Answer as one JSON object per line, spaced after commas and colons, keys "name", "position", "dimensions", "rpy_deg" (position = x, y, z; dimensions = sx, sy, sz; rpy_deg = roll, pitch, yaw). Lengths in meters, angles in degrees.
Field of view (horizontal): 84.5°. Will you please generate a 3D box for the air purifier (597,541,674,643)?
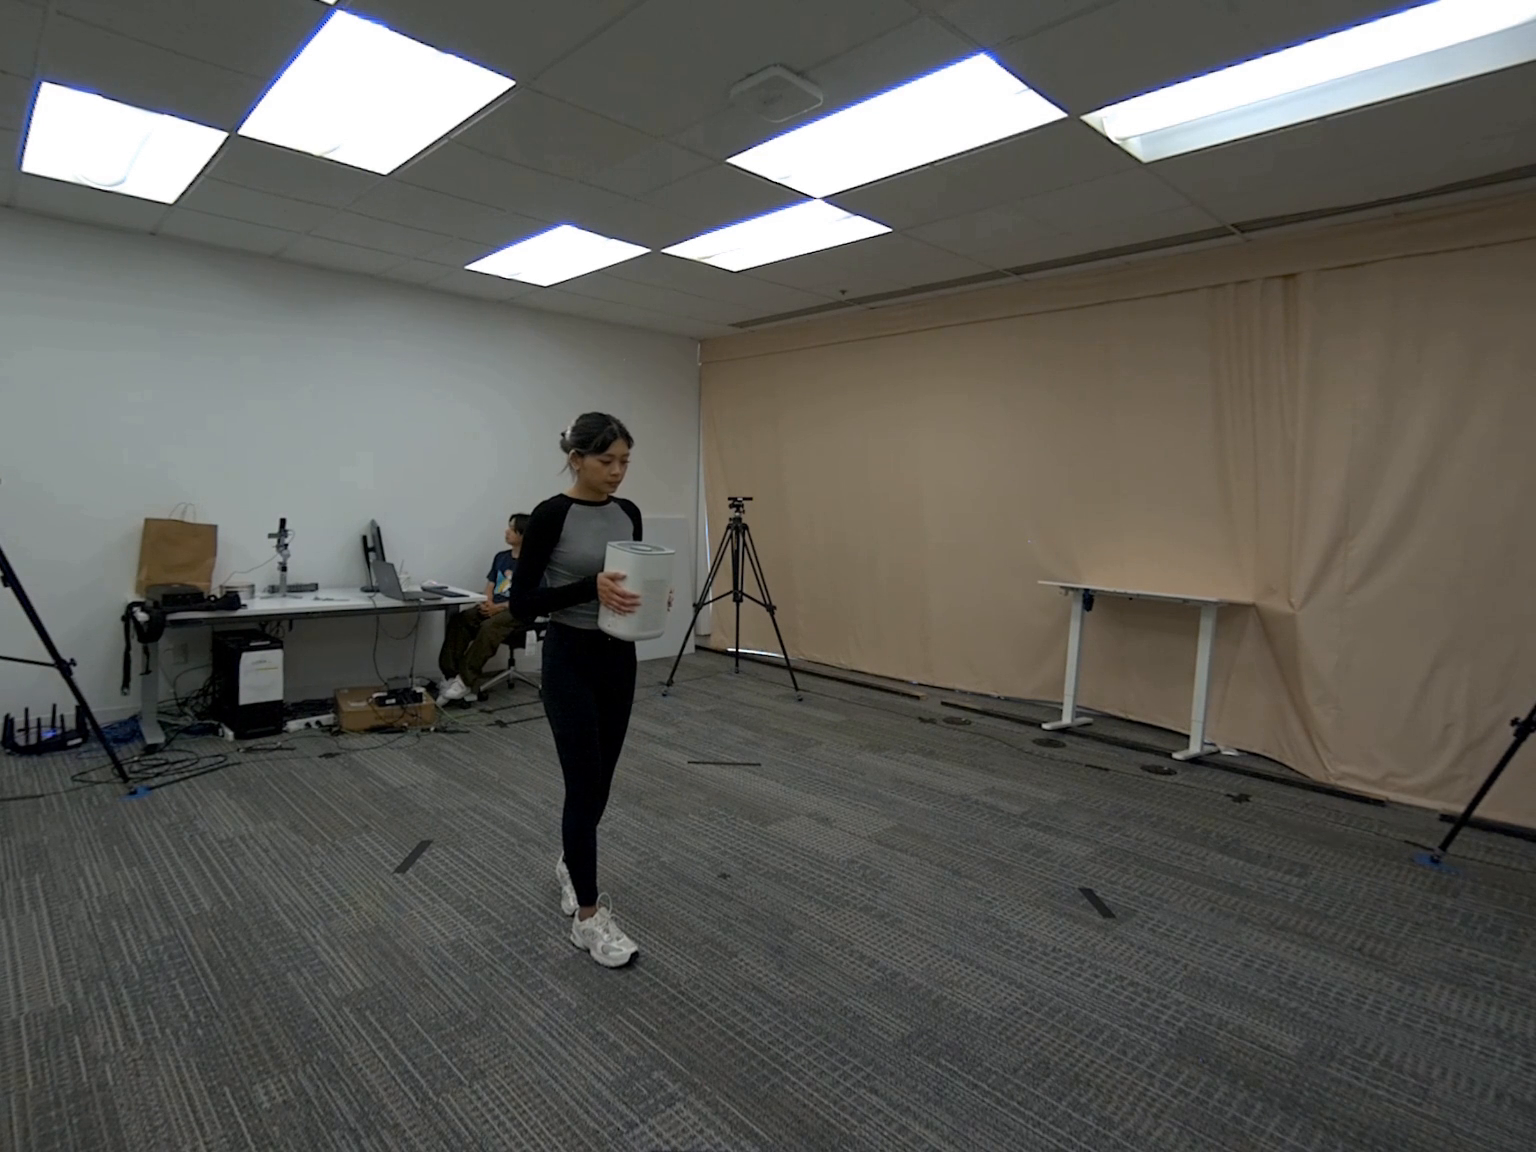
{"name": "air purifier", "position": [-0.408, 0.043, 2.460], "dimensions": [0.176, 0.264, 0.168], "rpy_deg": [16, 12, 41]}
